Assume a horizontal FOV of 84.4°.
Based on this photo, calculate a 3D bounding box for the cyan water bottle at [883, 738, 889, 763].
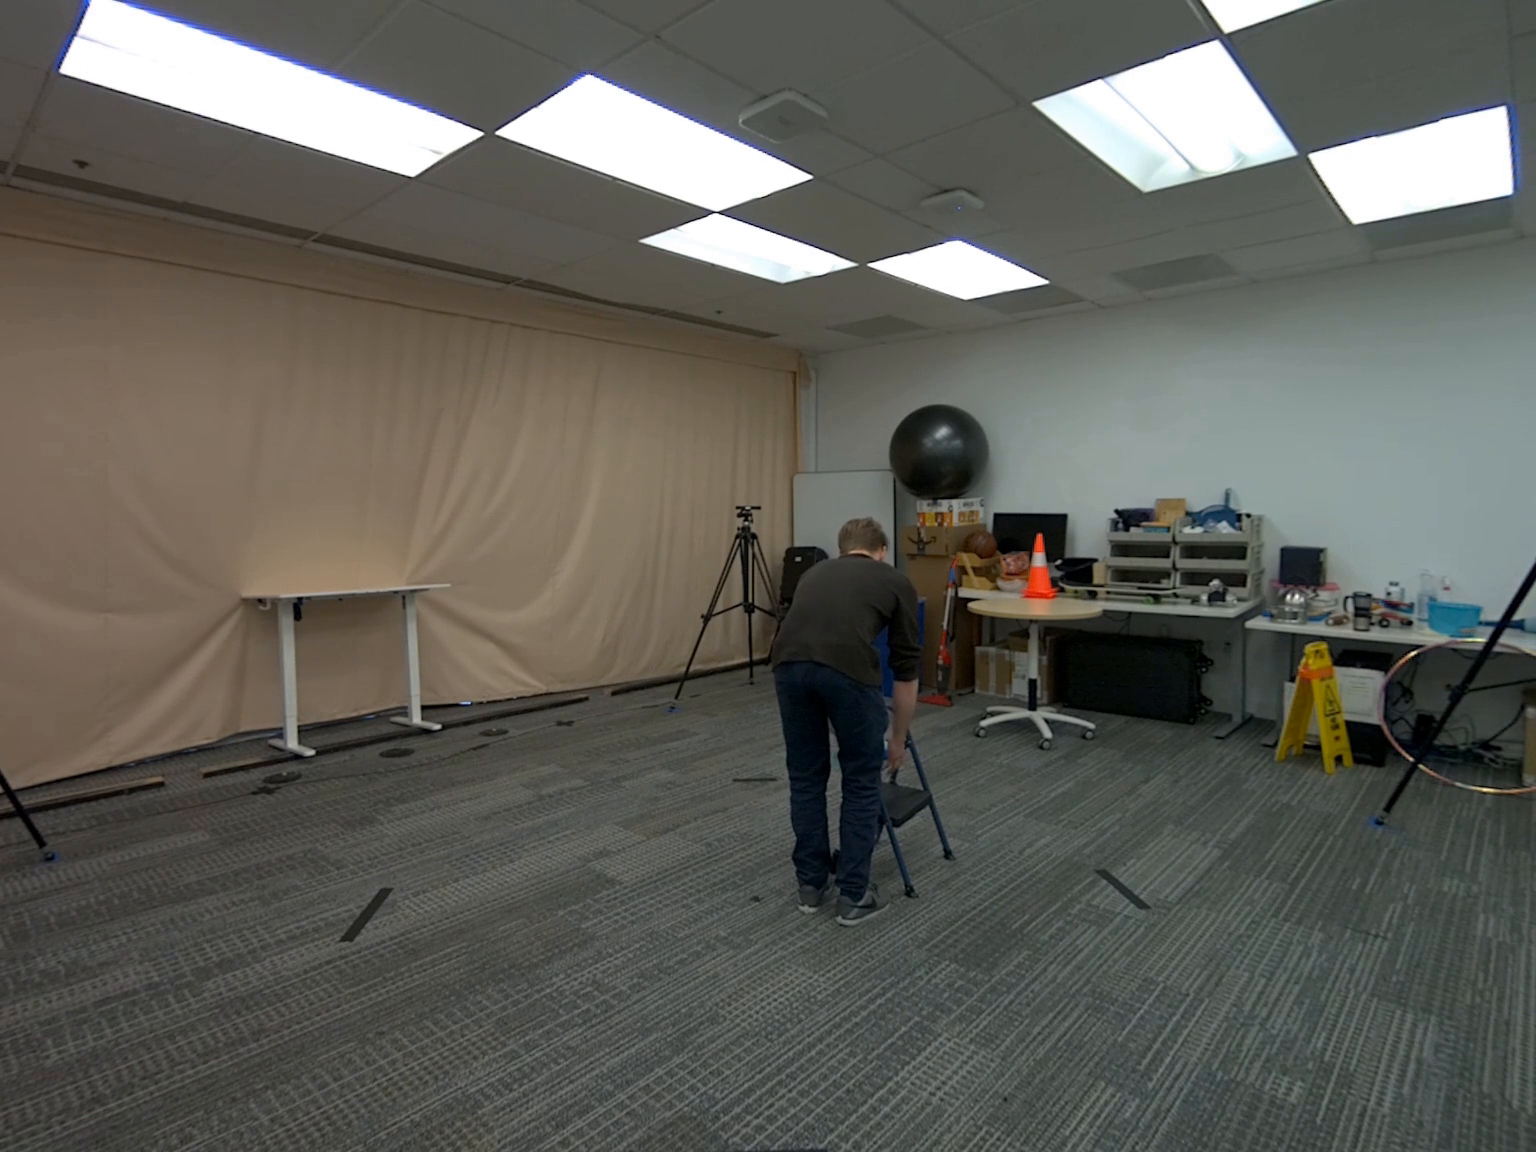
[{"bbox_3d":[0.393,0.680,3.242,0.276,0.092,0.095,-5,6,-31],"label":"cyan water bottle"}]
